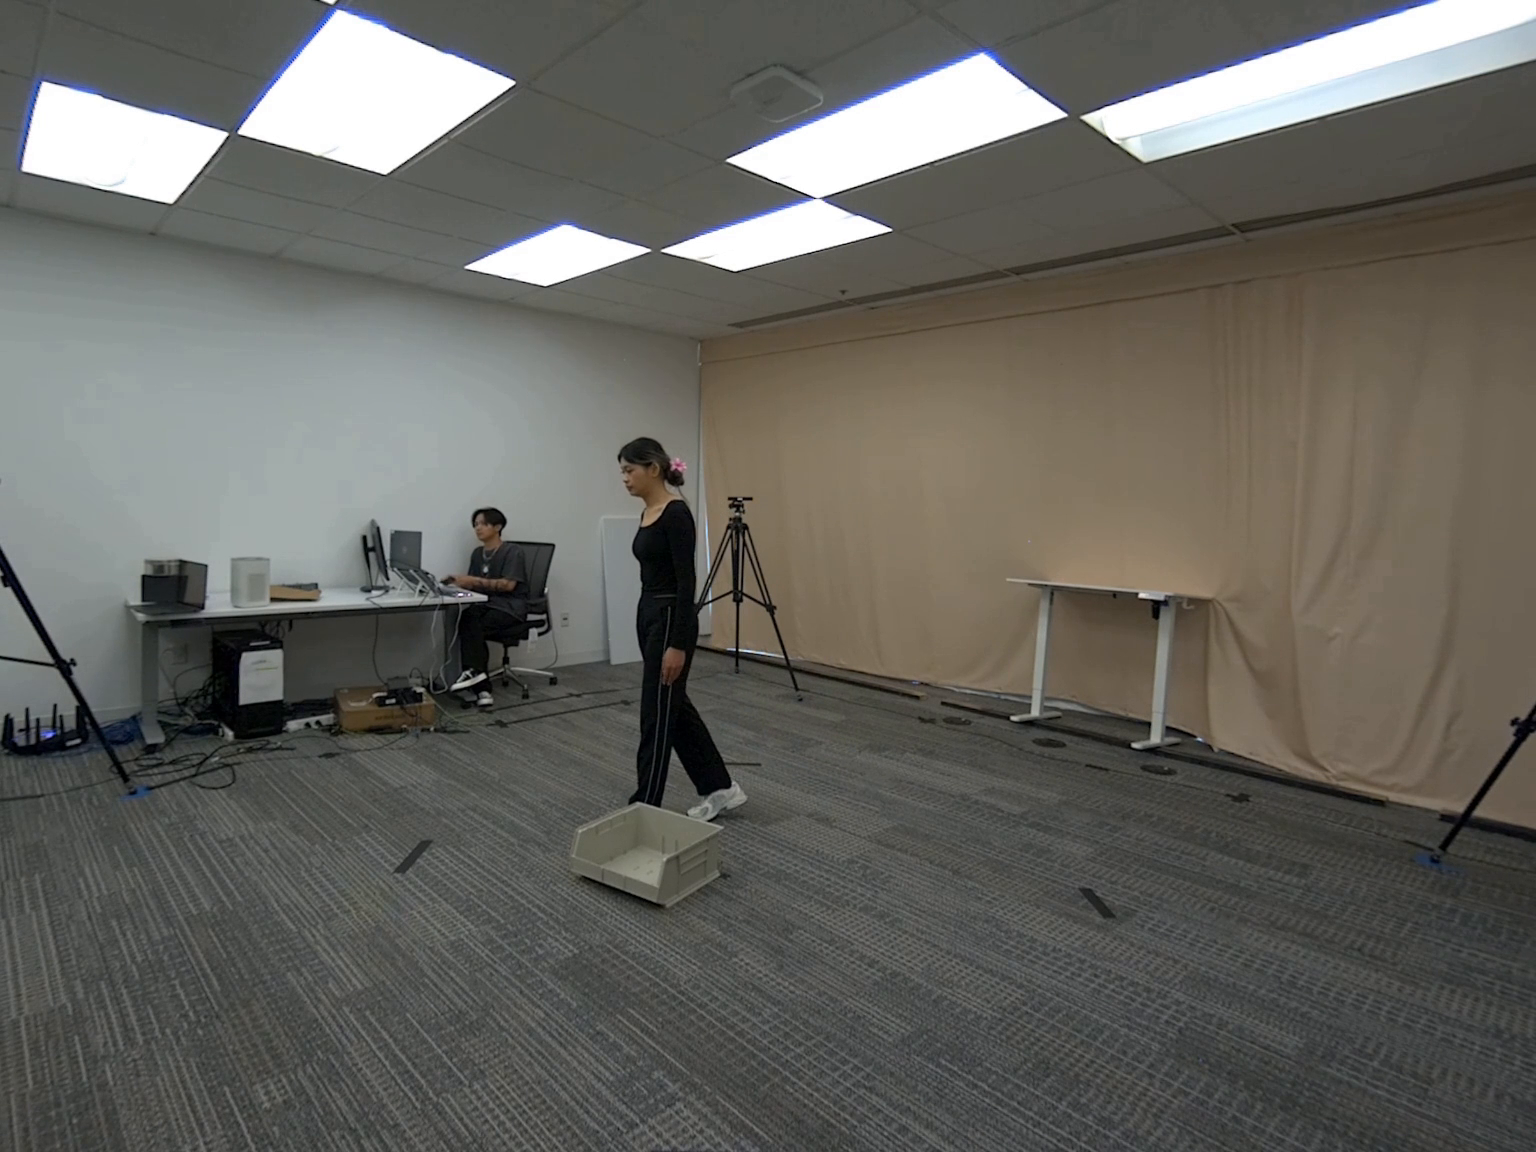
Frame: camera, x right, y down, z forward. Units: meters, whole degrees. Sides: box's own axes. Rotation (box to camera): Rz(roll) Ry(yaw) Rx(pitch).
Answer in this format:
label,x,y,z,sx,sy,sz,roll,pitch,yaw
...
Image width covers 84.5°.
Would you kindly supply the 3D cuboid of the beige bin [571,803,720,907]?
label,x,y,z,sx,sy,sz,roll,pitch,yaw
beige bin,-0.447,1.018,3.073,0.432,0.188,0.369,4,4,33
